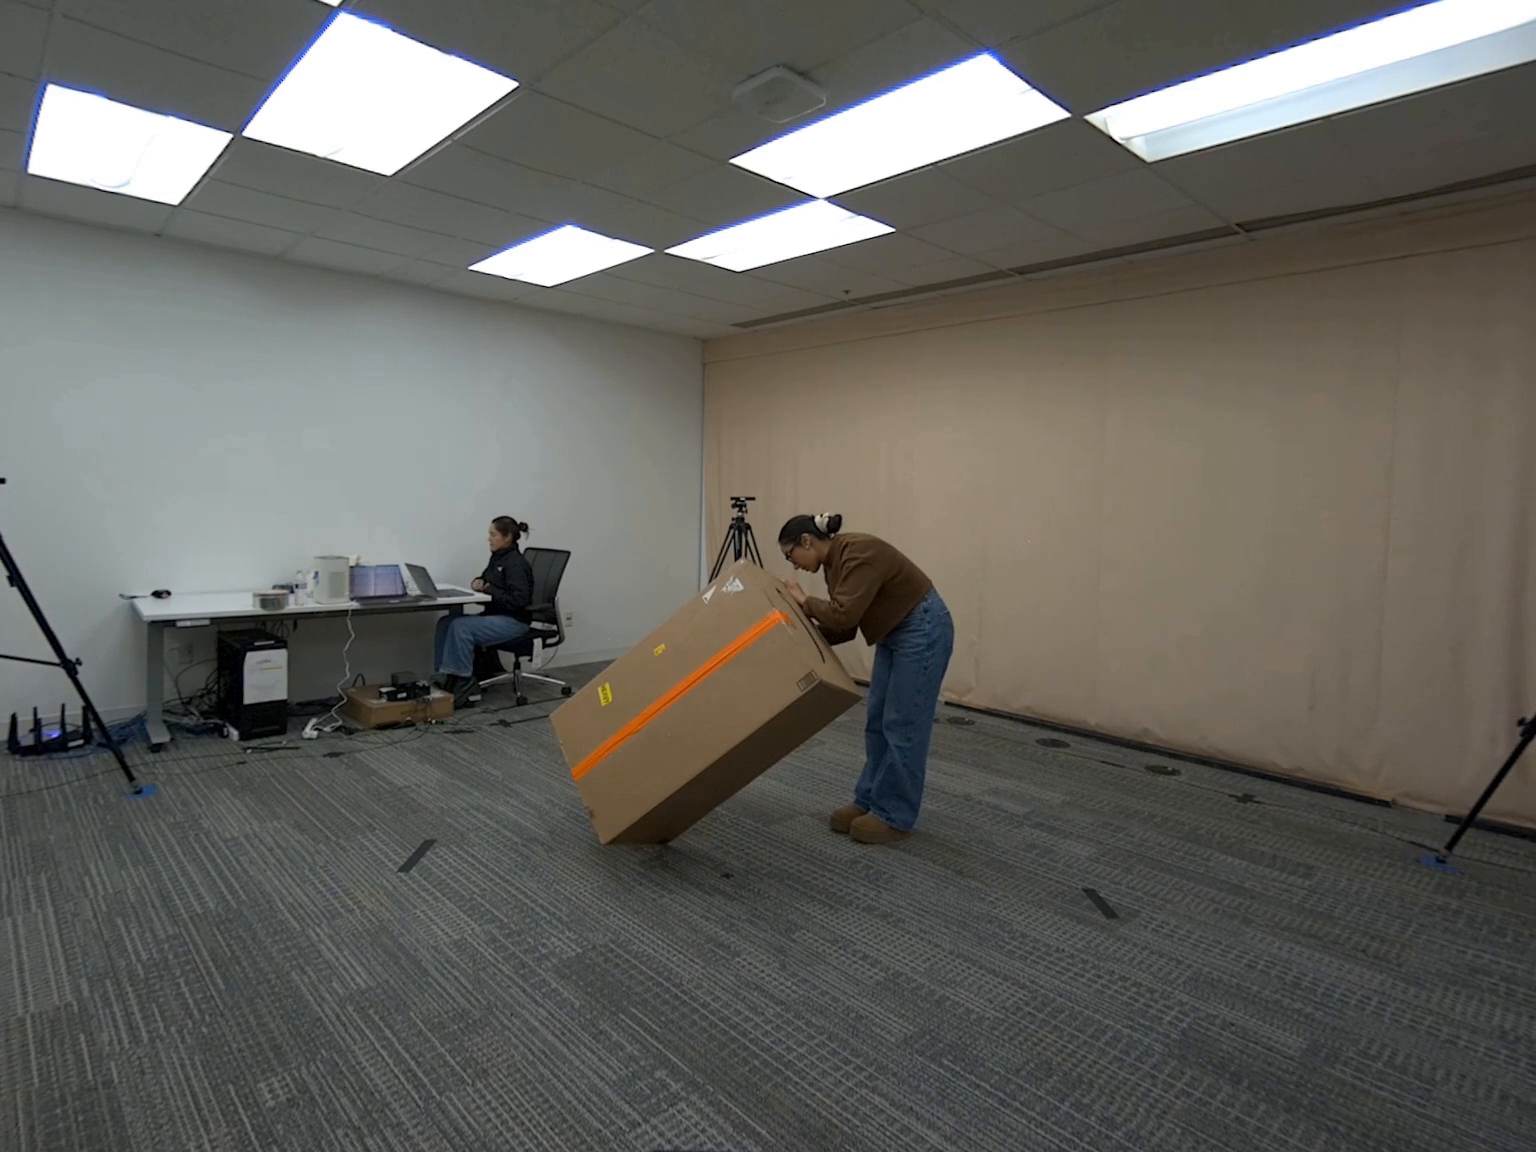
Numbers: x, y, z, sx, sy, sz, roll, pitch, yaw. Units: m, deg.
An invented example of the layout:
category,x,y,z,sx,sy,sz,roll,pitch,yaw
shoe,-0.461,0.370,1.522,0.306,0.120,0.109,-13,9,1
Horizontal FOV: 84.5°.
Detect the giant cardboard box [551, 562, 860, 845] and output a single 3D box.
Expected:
category,x,y,z,sx,sy,sz,roll,pitch,yaw
giant cardboard box,-0.261,0.511,3.247,1.028,0.600,0.434,-39,-30,11
